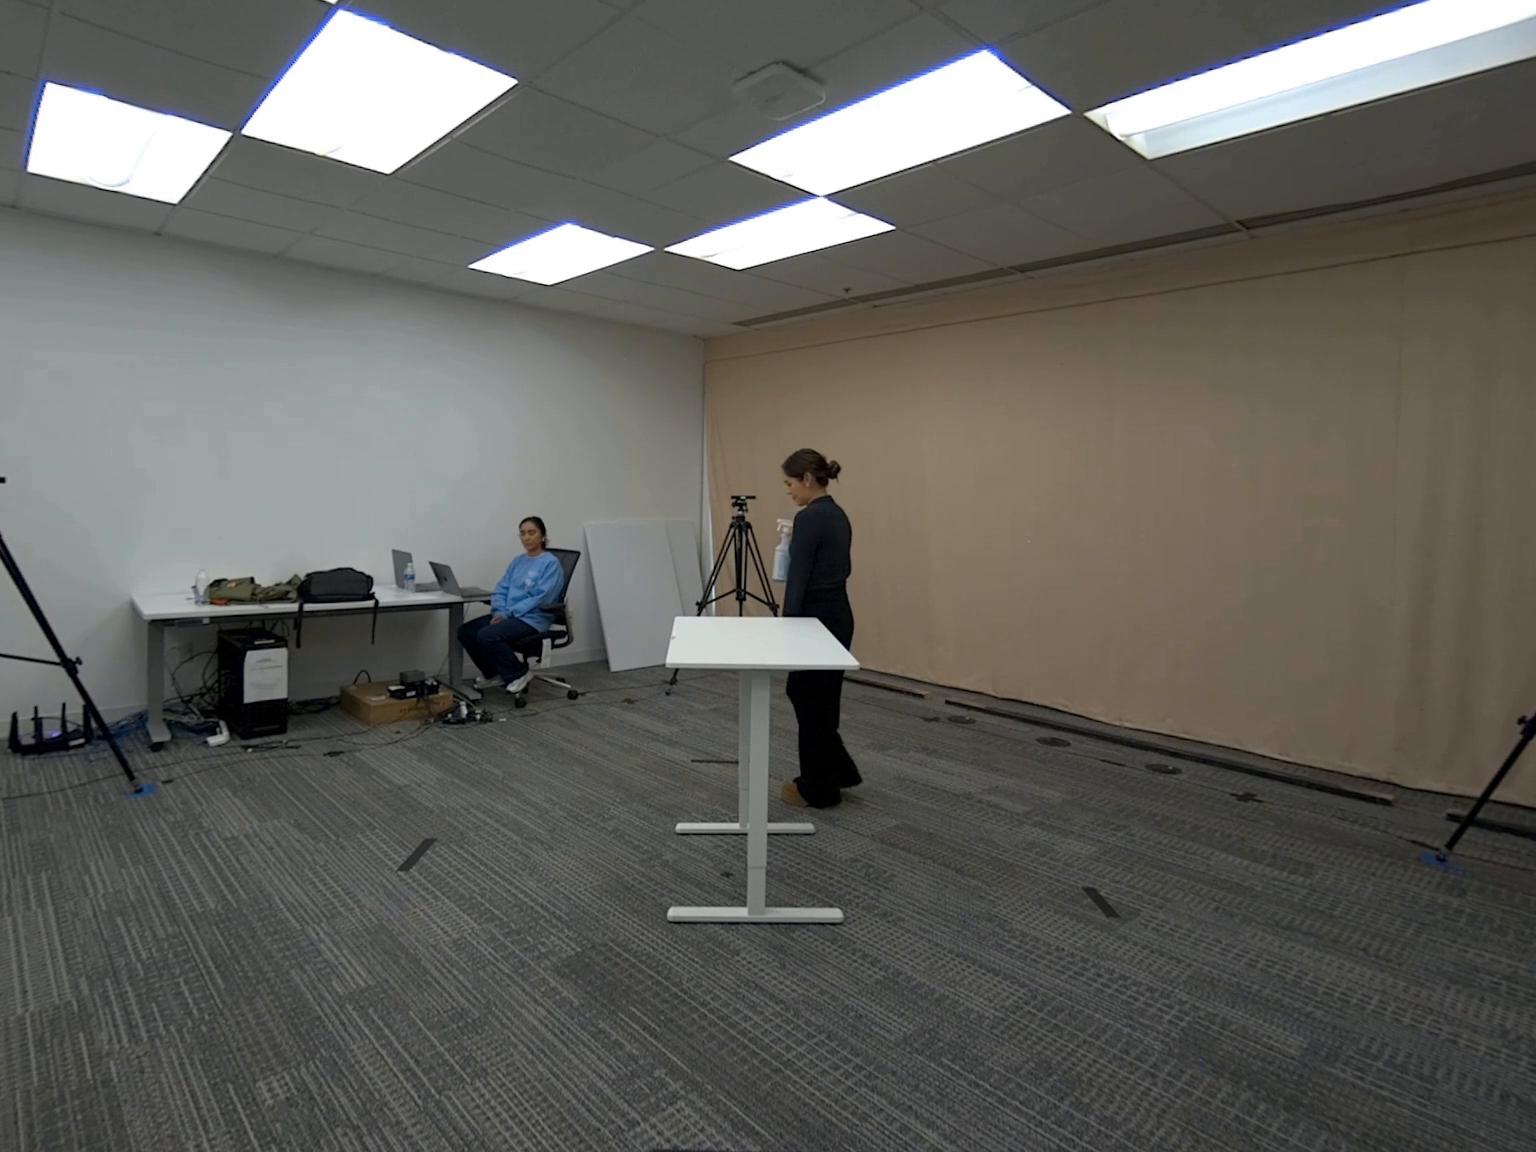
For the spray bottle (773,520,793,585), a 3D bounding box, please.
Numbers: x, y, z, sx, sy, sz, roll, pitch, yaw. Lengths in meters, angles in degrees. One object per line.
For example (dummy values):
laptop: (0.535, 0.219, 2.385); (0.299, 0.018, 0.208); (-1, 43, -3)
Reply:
spray bottle: (0.083, -0.113, 3.972); (0.090, 0.297, 0.087); (4, 1, -2)
